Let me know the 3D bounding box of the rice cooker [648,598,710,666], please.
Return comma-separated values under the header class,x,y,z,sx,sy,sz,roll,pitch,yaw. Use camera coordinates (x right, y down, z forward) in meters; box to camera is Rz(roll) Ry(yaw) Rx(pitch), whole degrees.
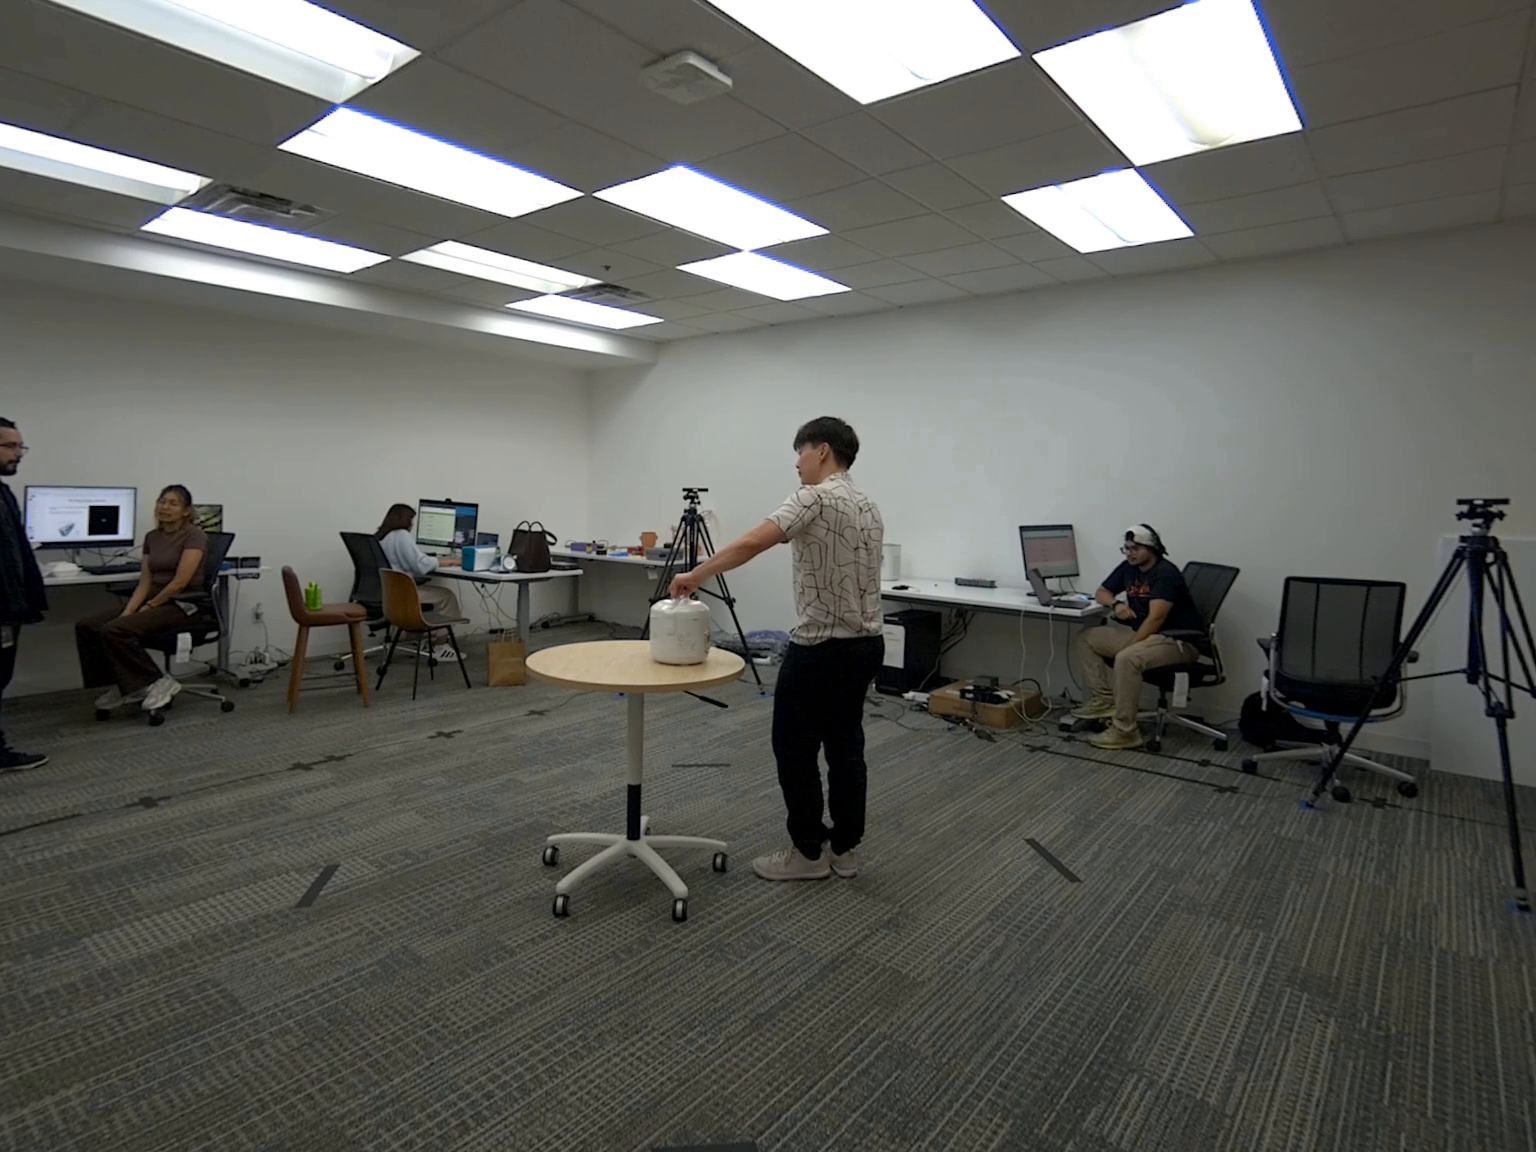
class,x,y,z,sx,sy,sz,roll,pitch,yaw
rice cooker,-0.318,0.180,3.004,0.221,0.232,0.217,2,5,16
